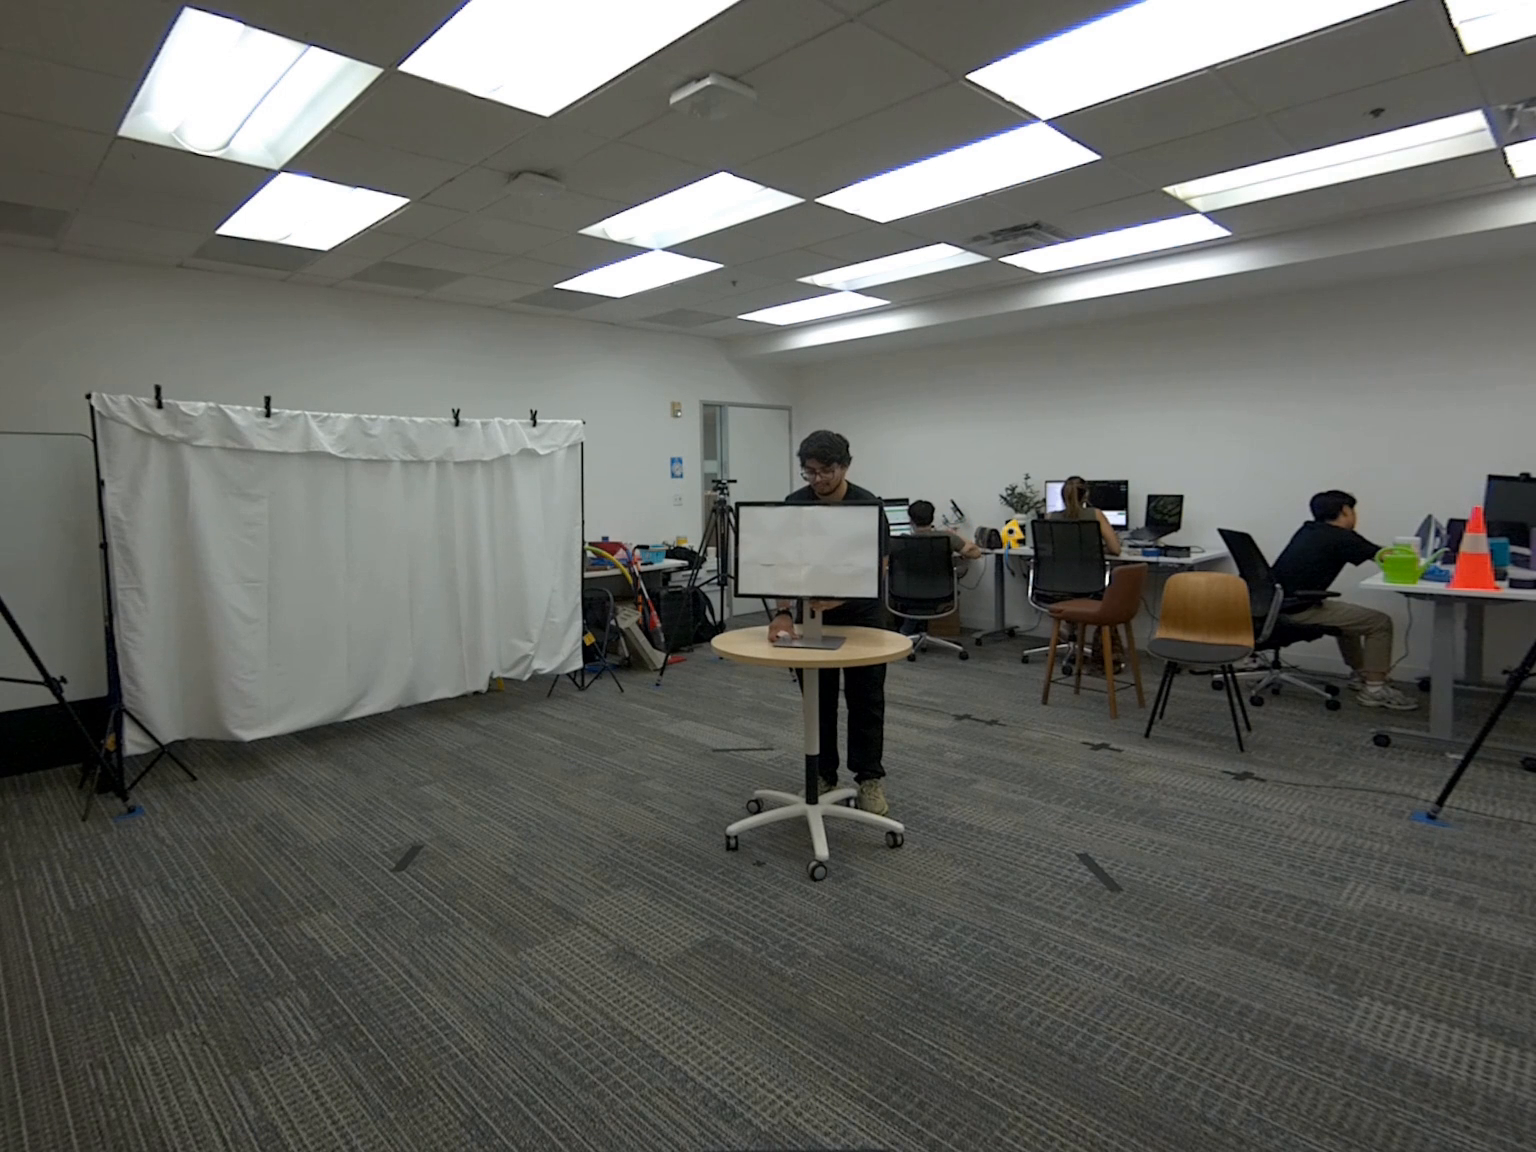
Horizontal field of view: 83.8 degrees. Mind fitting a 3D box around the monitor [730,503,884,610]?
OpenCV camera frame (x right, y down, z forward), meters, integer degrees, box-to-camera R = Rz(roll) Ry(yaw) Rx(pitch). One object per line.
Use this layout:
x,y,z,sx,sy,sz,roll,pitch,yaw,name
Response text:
0.163,-0.008,3.214,0.576,0.553,0.206,1,2,19,monitor
